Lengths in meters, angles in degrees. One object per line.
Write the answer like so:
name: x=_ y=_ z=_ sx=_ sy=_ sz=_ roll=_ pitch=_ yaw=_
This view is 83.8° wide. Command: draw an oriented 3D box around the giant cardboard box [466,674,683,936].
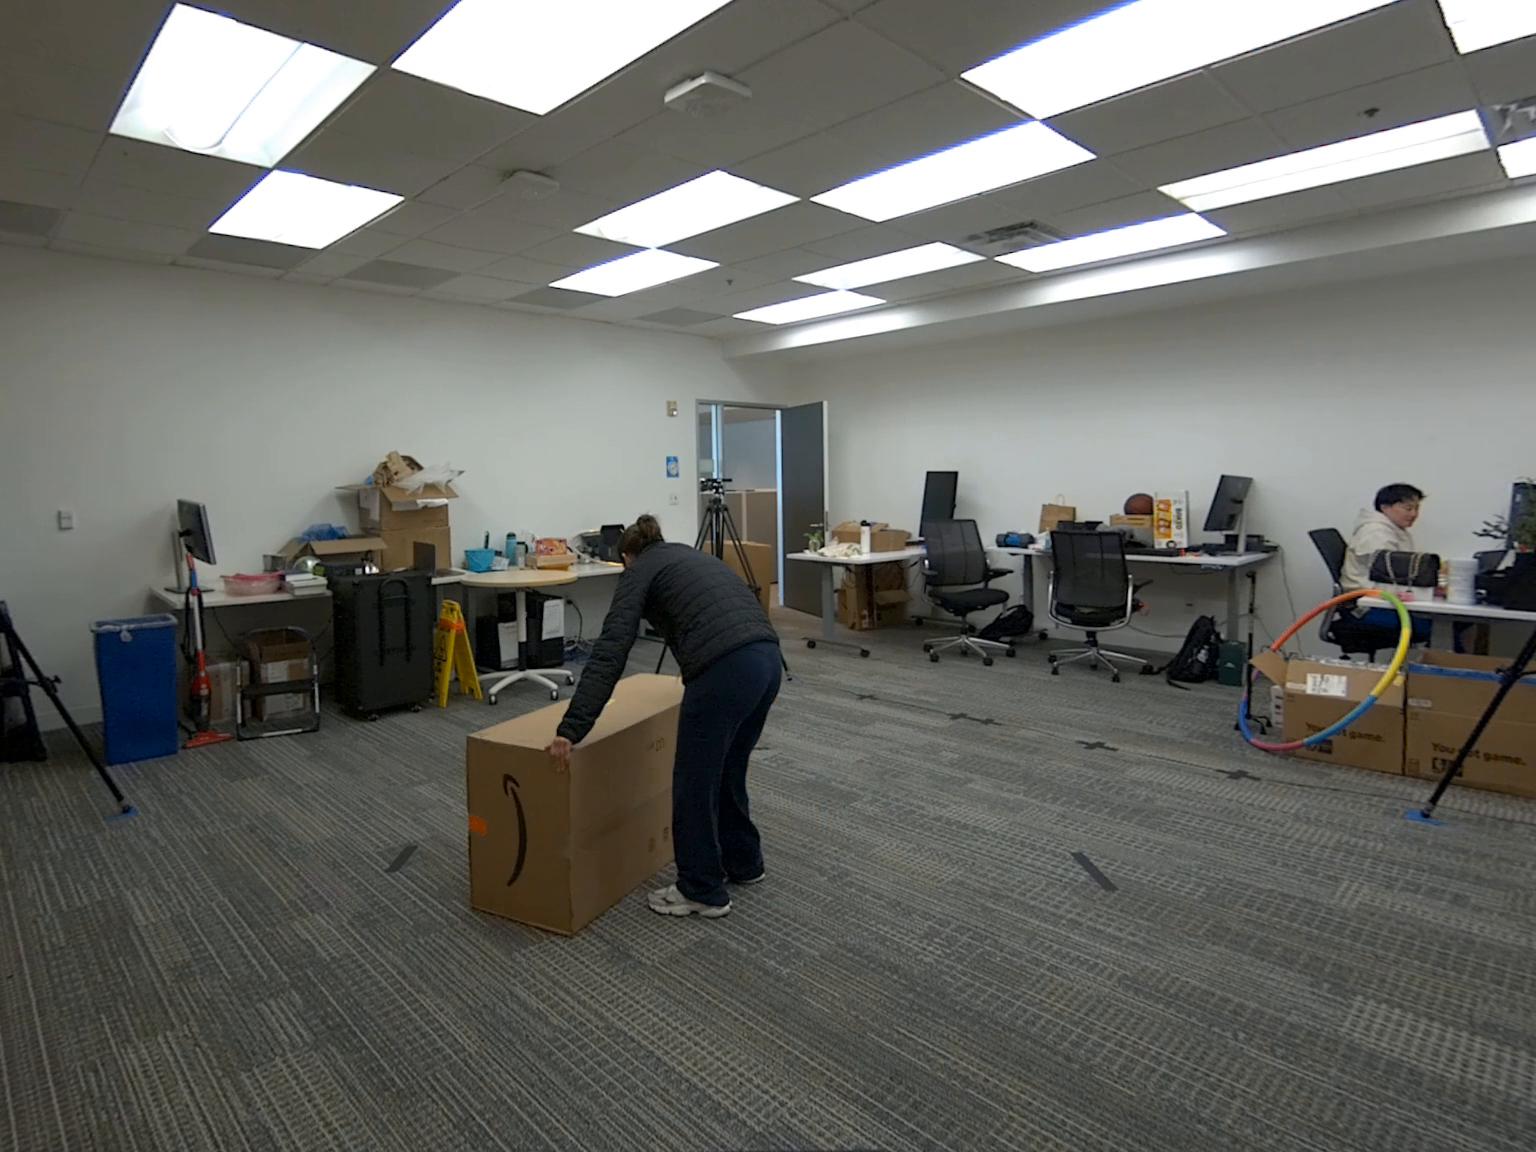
giant cardboard box: x=-0.576 y=0.760 z=3.164 sx=0.457 sy=0.582 sz=1.007 roll=1 pitch=5 yaw=25
